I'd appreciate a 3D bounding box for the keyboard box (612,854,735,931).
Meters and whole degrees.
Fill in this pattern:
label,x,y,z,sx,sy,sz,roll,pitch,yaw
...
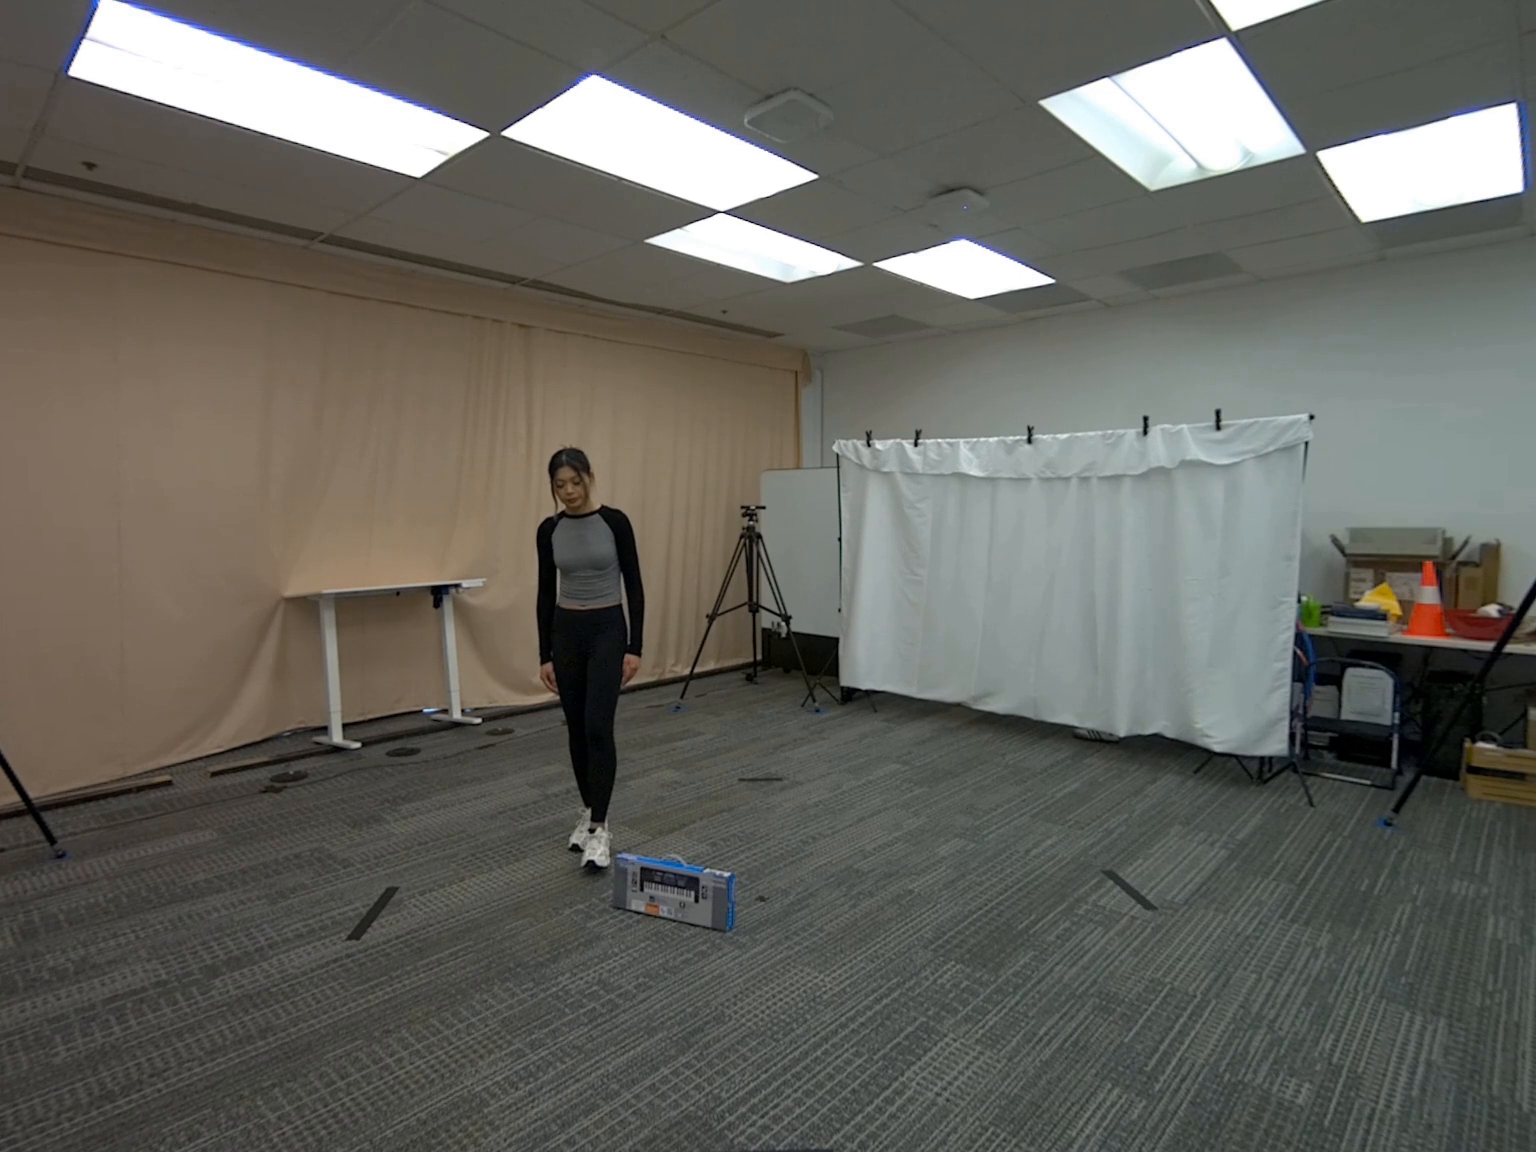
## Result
label,x,y,z,sx,sy,sz,roll,pitch,yaw
keyboard box,-0.322,1.067,2.857,0.447,0.176,0.057,2,-3,24
